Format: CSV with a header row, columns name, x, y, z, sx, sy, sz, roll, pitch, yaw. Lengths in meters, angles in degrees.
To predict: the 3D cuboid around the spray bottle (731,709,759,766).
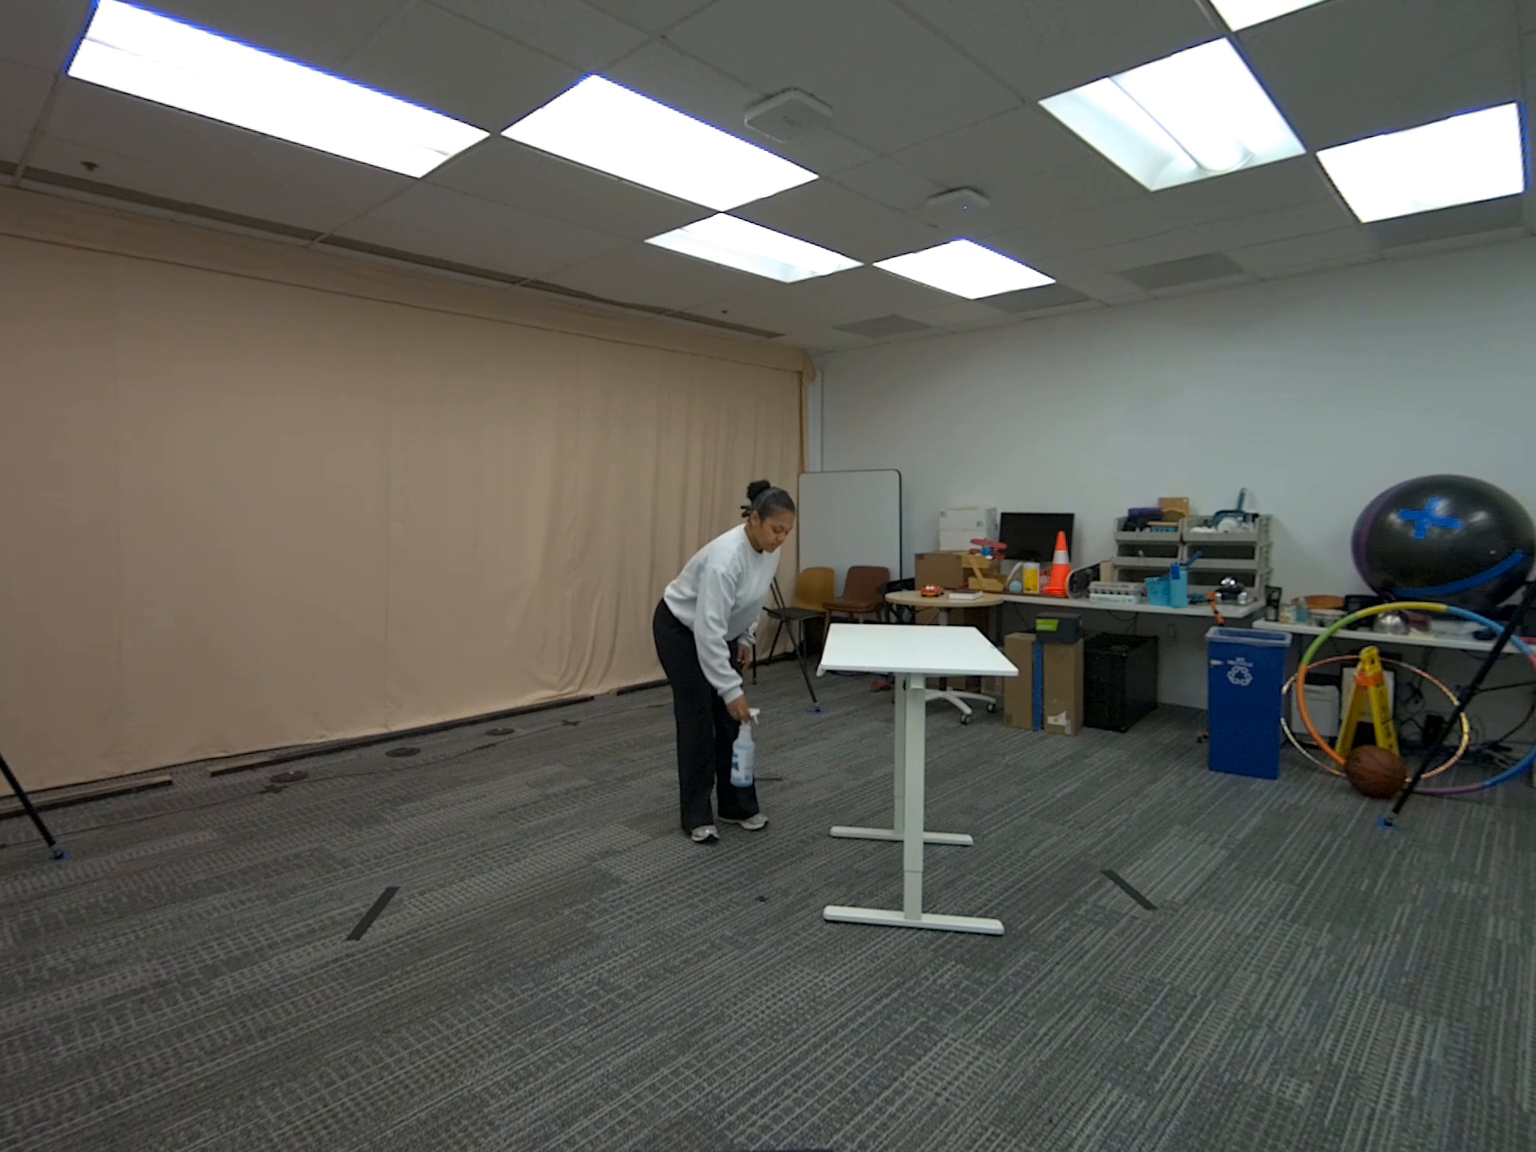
name,x,y,z,sx,sy,sz,roll,pitch,yaw
spray bottle,-0.082,0.541,3.300,0.092,0.297,0.085,6,4,22
